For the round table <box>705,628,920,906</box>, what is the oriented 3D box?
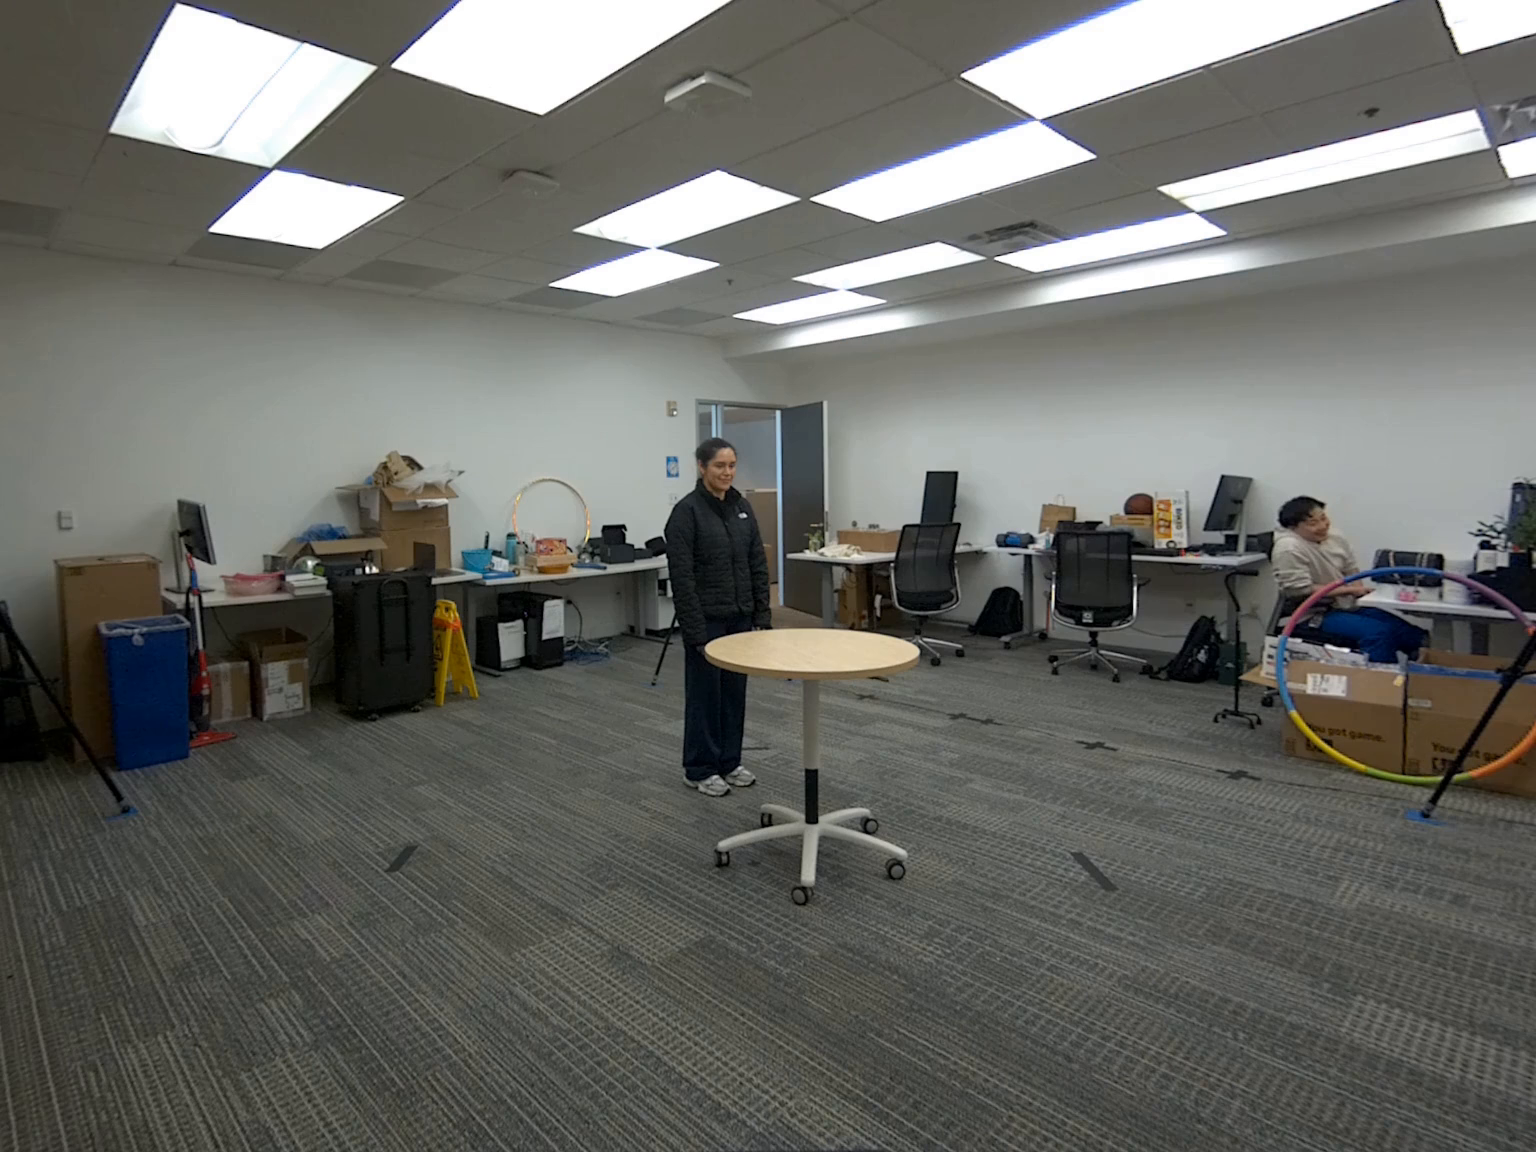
[{"bbox_3d":[0.155,0.646,3.134,0.784,0.783,0.789,0,5,-2],"label":"round table"}]
